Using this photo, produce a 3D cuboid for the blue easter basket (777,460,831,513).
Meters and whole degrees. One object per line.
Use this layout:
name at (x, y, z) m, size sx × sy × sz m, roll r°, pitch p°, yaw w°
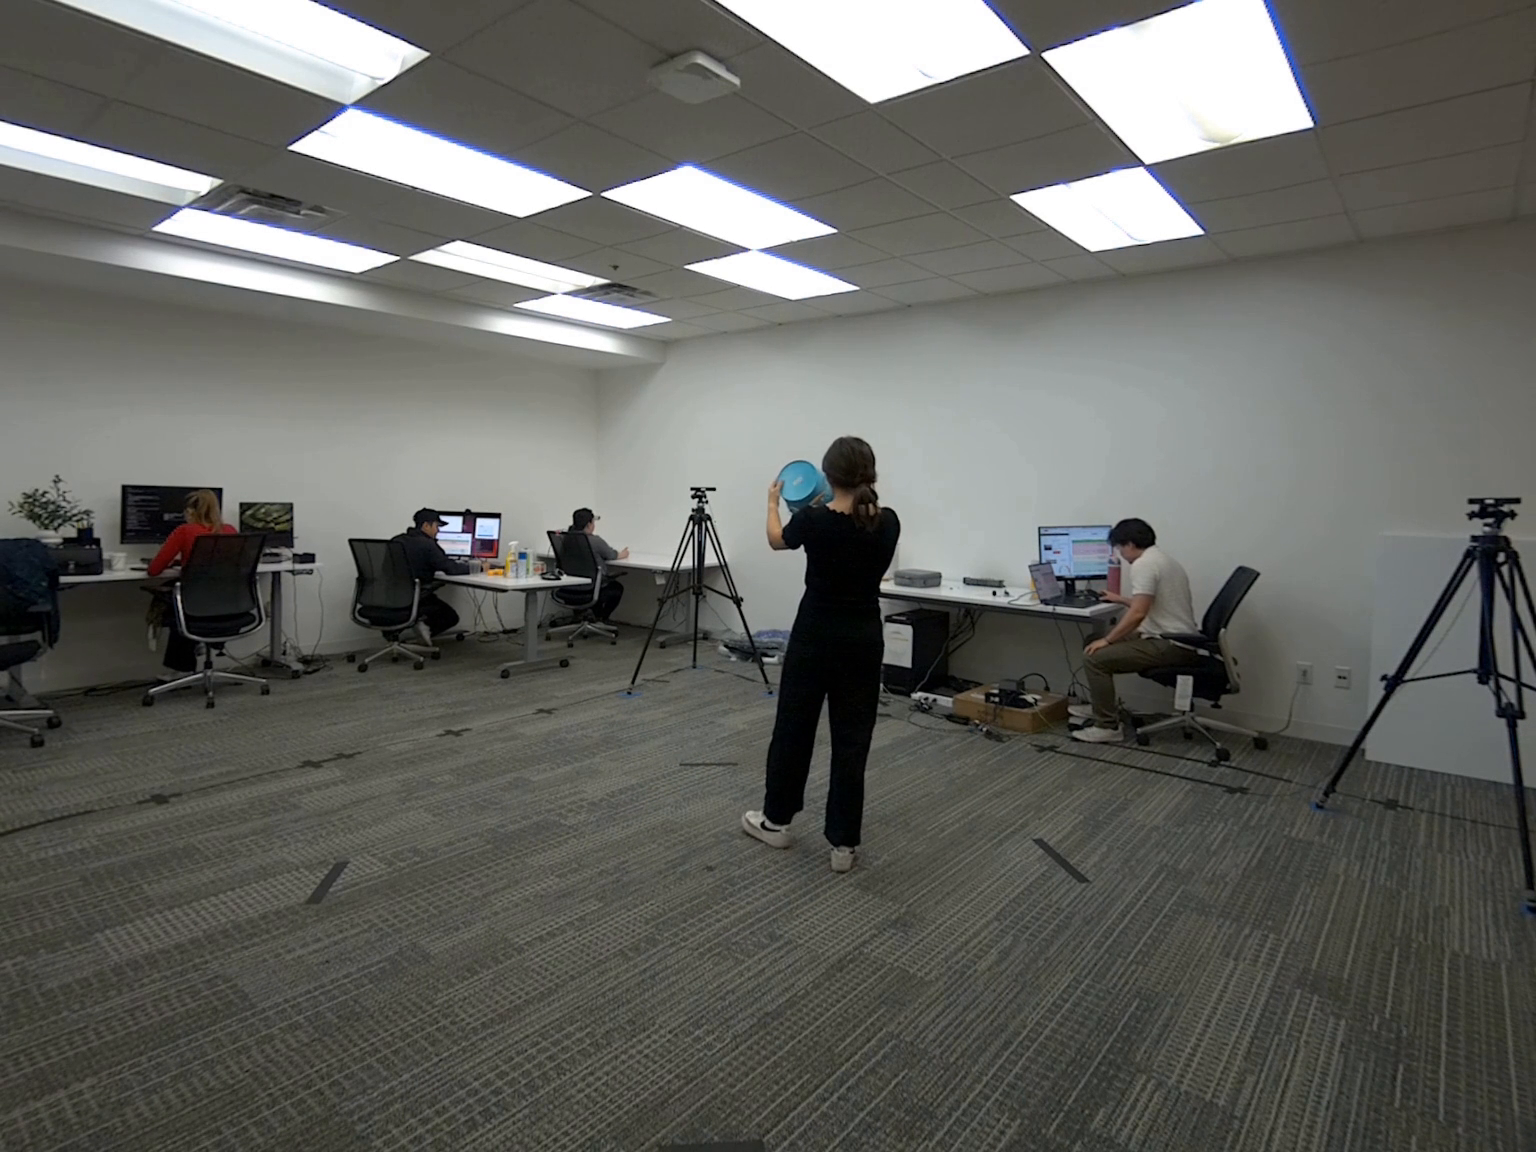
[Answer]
blue easter basket at (0.143, -0.376, 3.590) m, size 0.250 × 0.246 × 0.150 m, roll 3°, pitch -16°, yaw 27°
